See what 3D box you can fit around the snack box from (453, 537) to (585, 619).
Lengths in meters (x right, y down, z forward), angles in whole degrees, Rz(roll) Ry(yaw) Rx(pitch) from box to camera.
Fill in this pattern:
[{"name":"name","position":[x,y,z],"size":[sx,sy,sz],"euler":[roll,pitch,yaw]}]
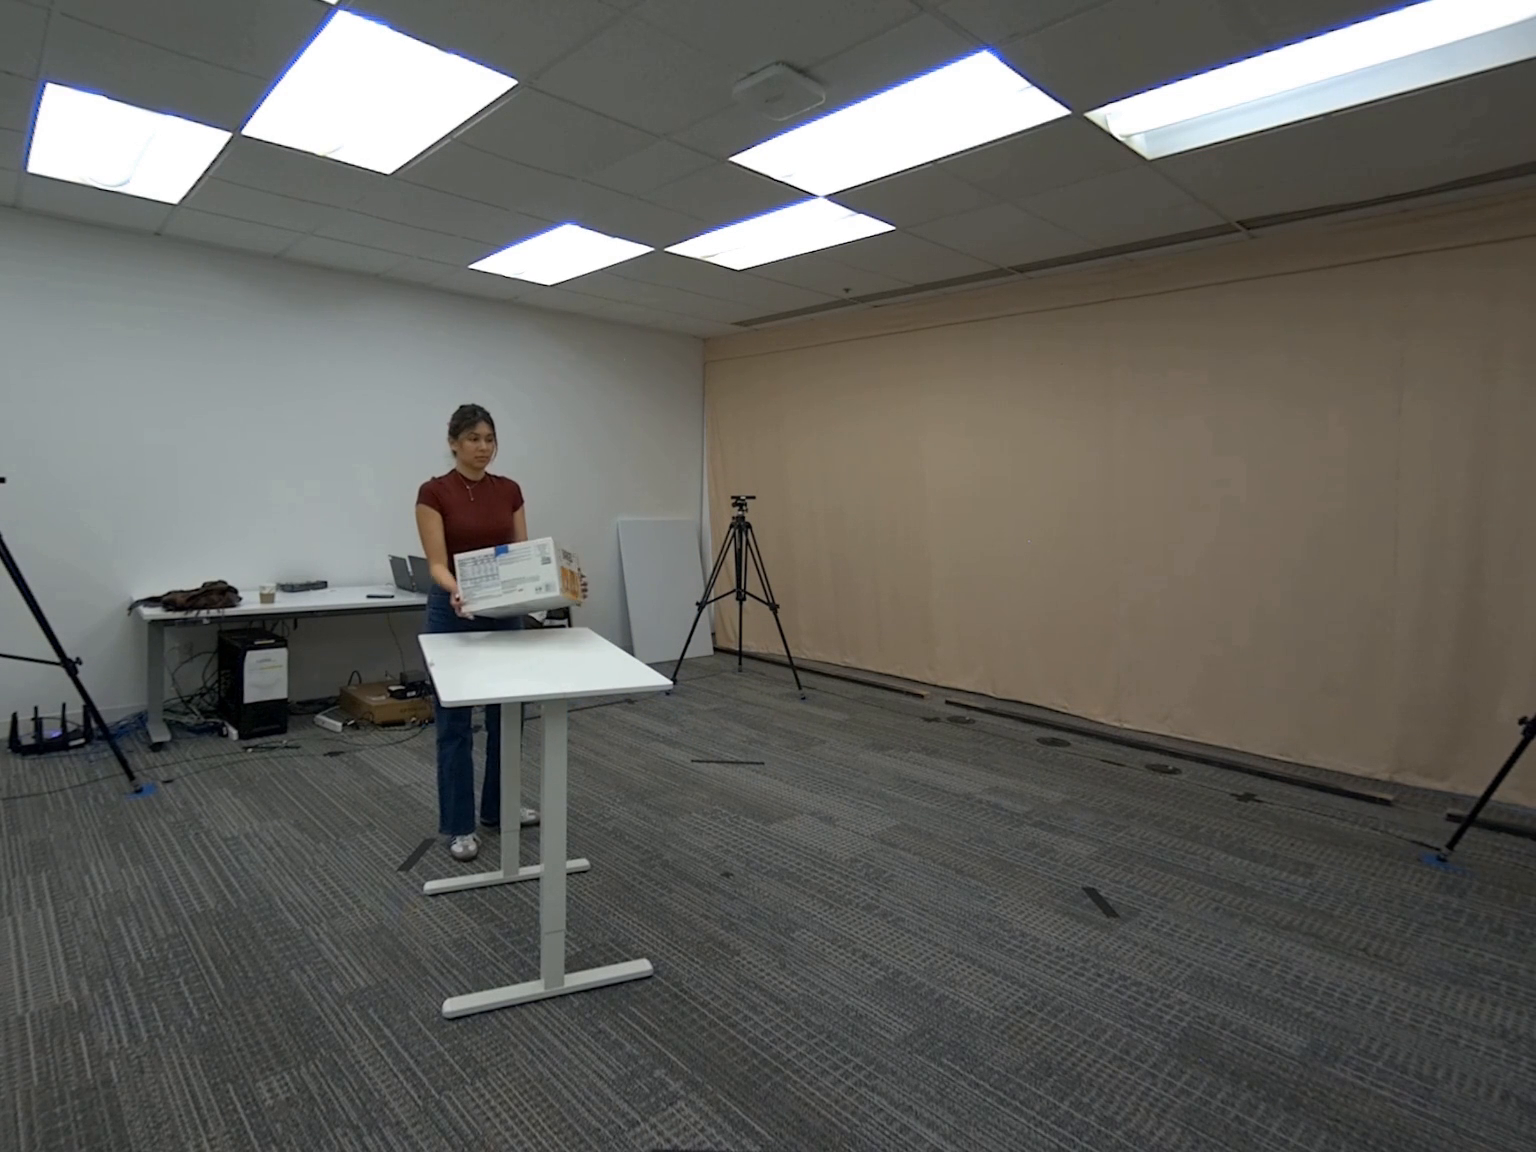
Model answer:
[{"name":"snack box","position":[-0.883,0.020,3.017],"size":[0.340,0.207,0.402],"euler":[-9,-6,0]}]
